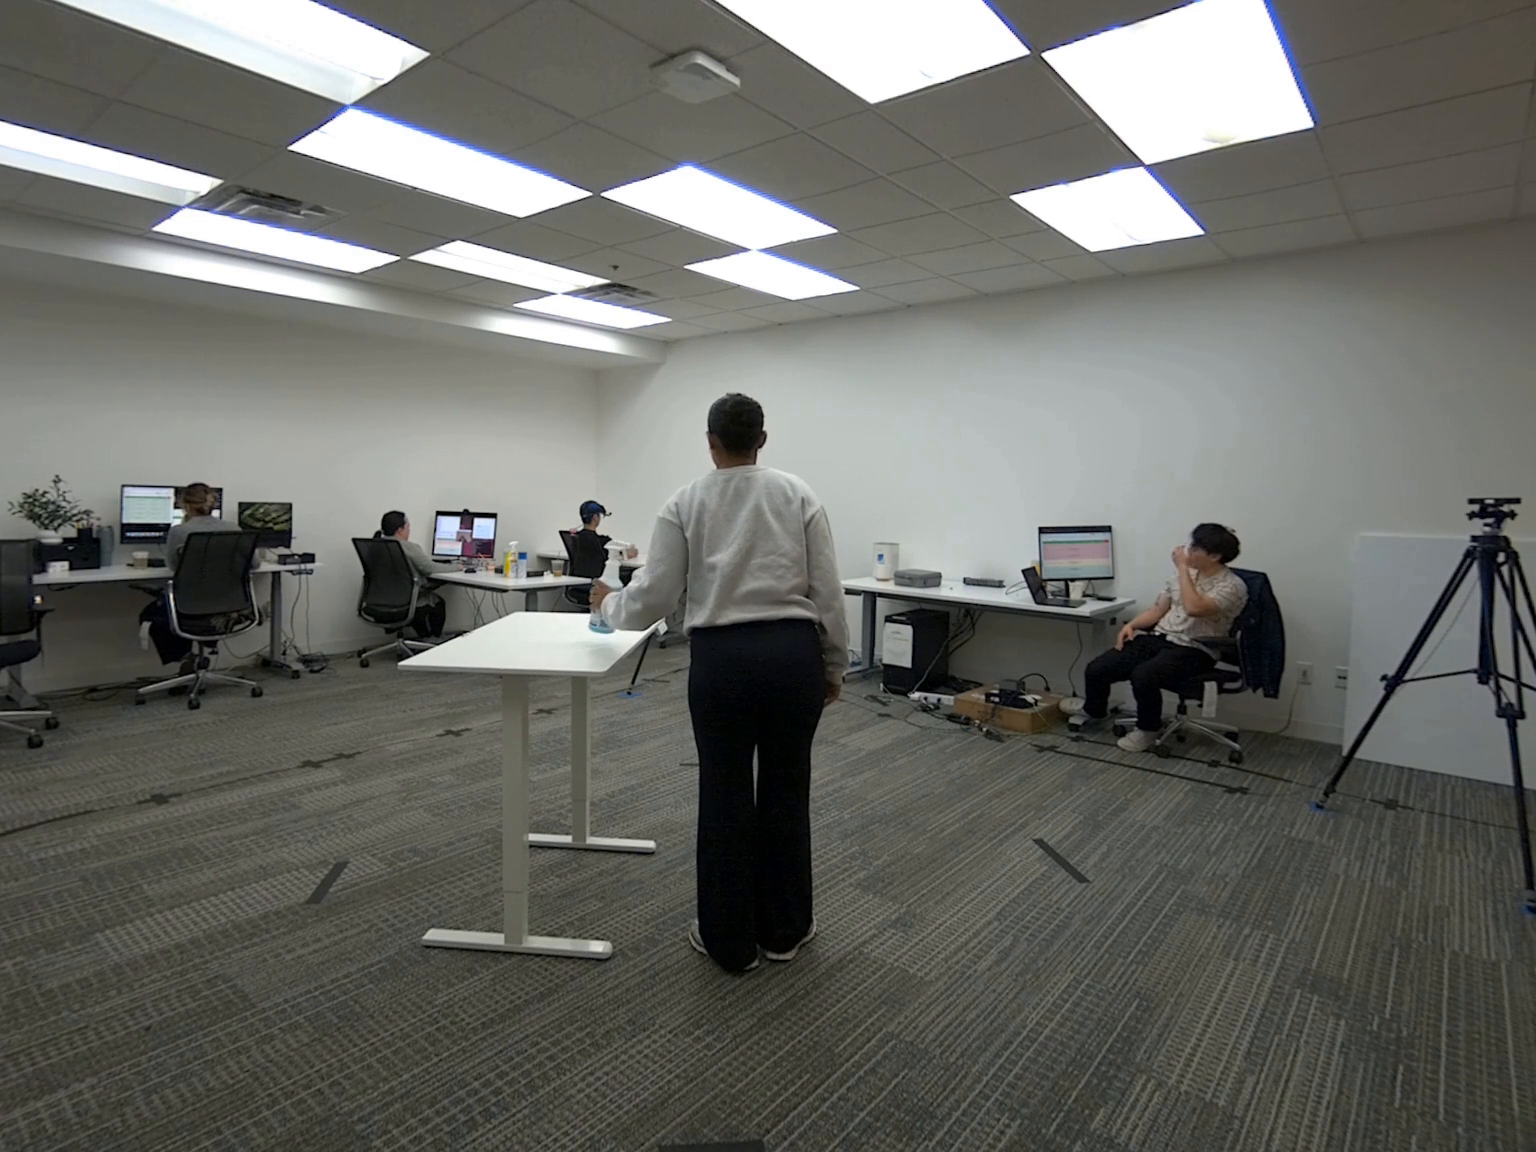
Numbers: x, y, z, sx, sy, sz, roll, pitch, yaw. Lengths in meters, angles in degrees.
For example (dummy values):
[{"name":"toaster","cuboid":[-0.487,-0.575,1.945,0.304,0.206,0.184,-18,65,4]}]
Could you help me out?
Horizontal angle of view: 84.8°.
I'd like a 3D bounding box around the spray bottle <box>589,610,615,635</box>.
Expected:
[{"name":"spray bottle","cuboid":[-0.512,0.037,2.707,0.084,0.296,0.093,6,7,-40]}]
